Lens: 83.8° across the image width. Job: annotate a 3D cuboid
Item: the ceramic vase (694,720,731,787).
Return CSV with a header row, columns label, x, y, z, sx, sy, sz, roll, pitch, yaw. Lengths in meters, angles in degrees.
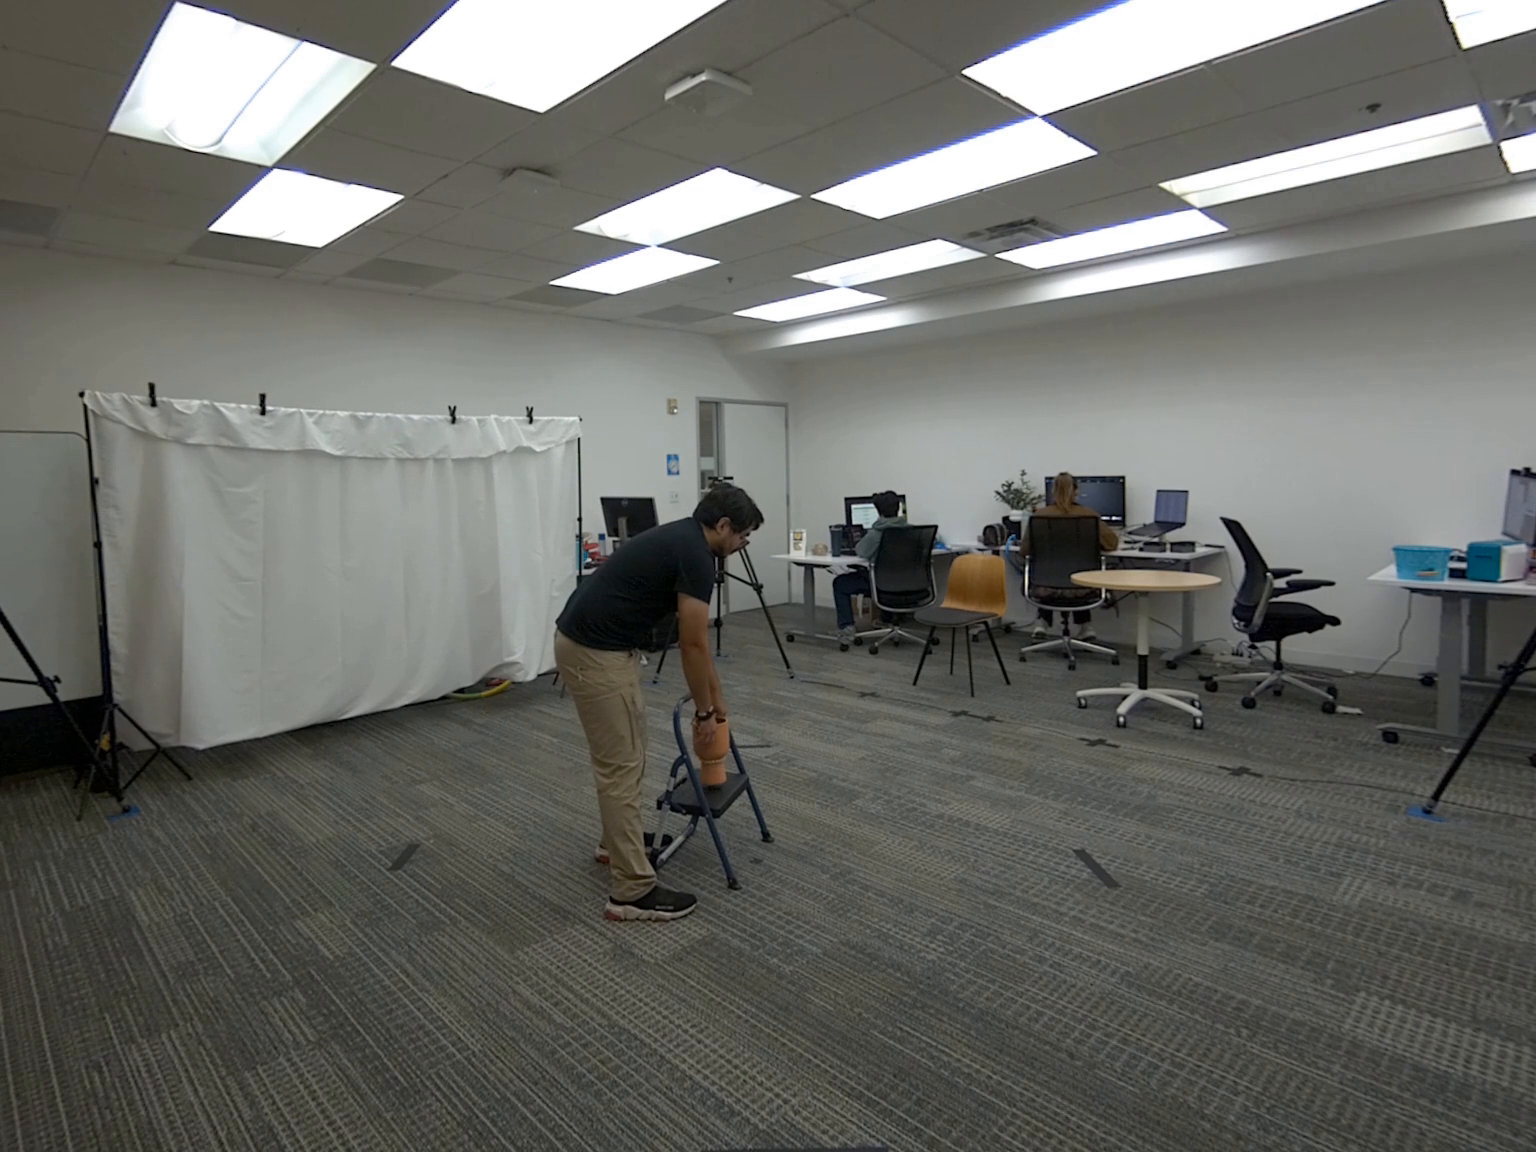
label,x,y,z,sx,sy,sz,roll,pitch,yaw
ceramic vase,-0.211,0.641,3.124,0.155,0.219,0.138,-6,4,-39
